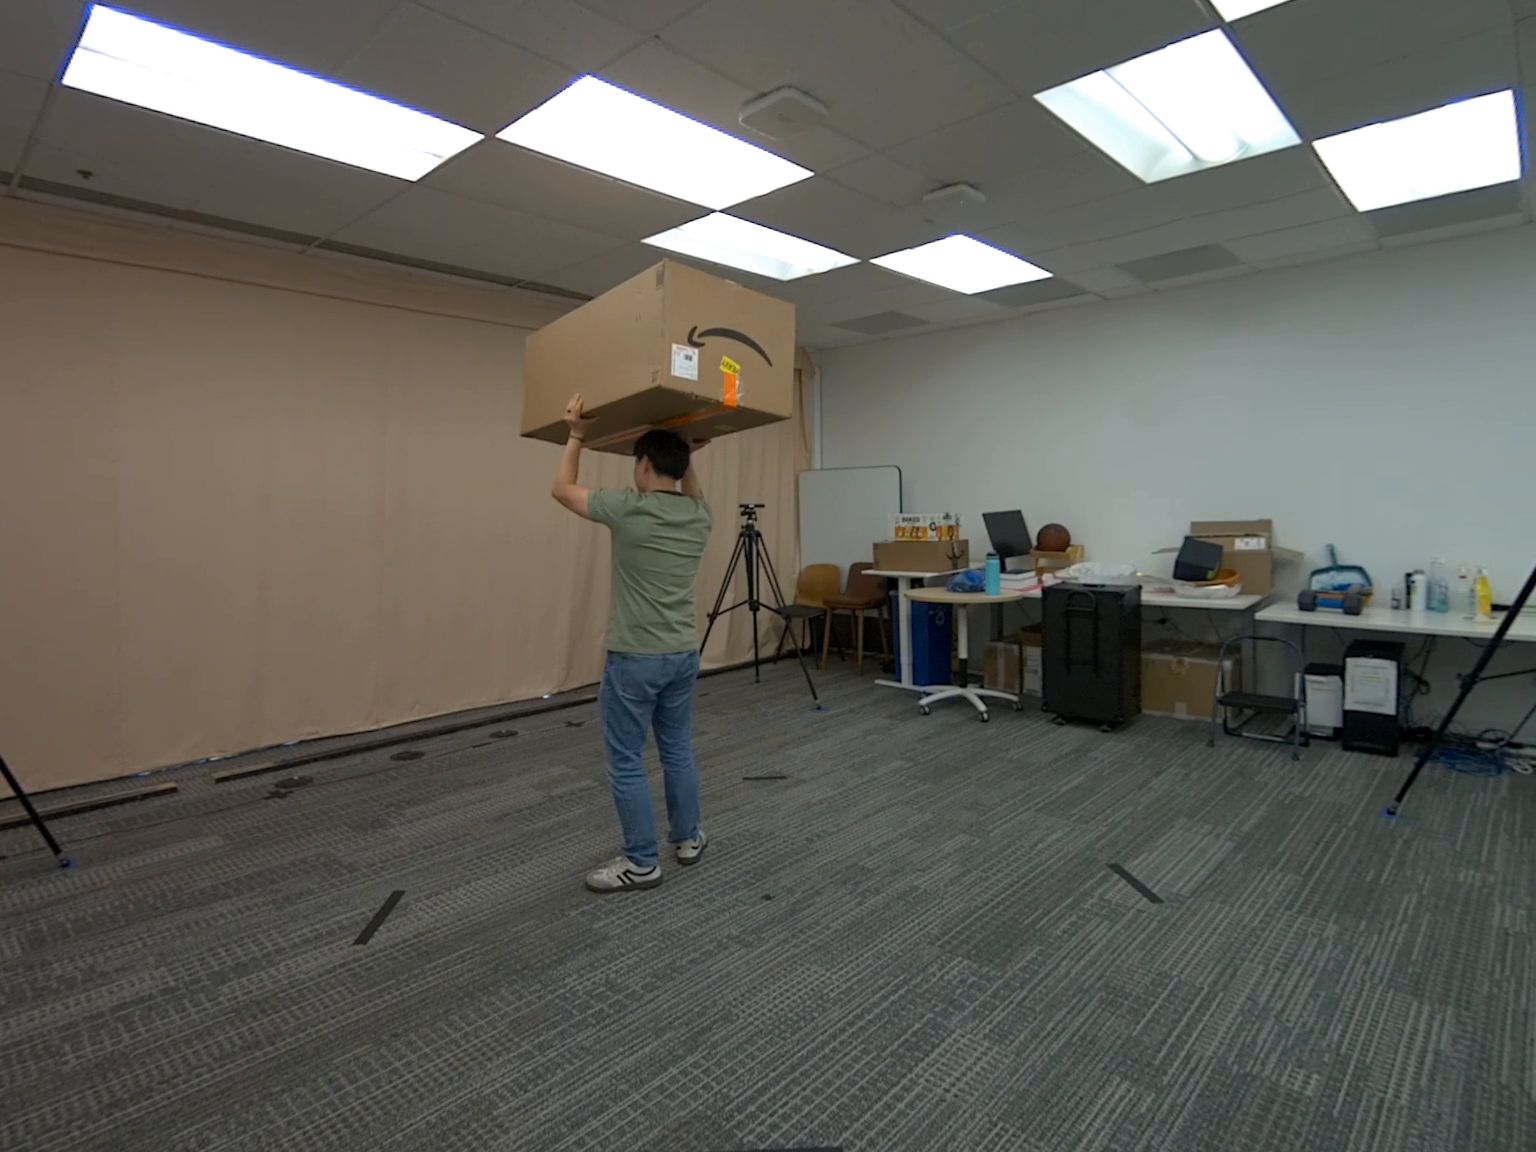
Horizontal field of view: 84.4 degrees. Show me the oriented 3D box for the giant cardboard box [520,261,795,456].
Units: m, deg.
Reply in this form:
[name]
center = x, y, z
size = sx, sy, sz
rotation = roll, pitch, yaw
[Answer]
[giant cardboard box]
center = -0.454, -0.771, 3.250
size = 0.559, 0.427, 1.057
rotation = 5, -5, -40
